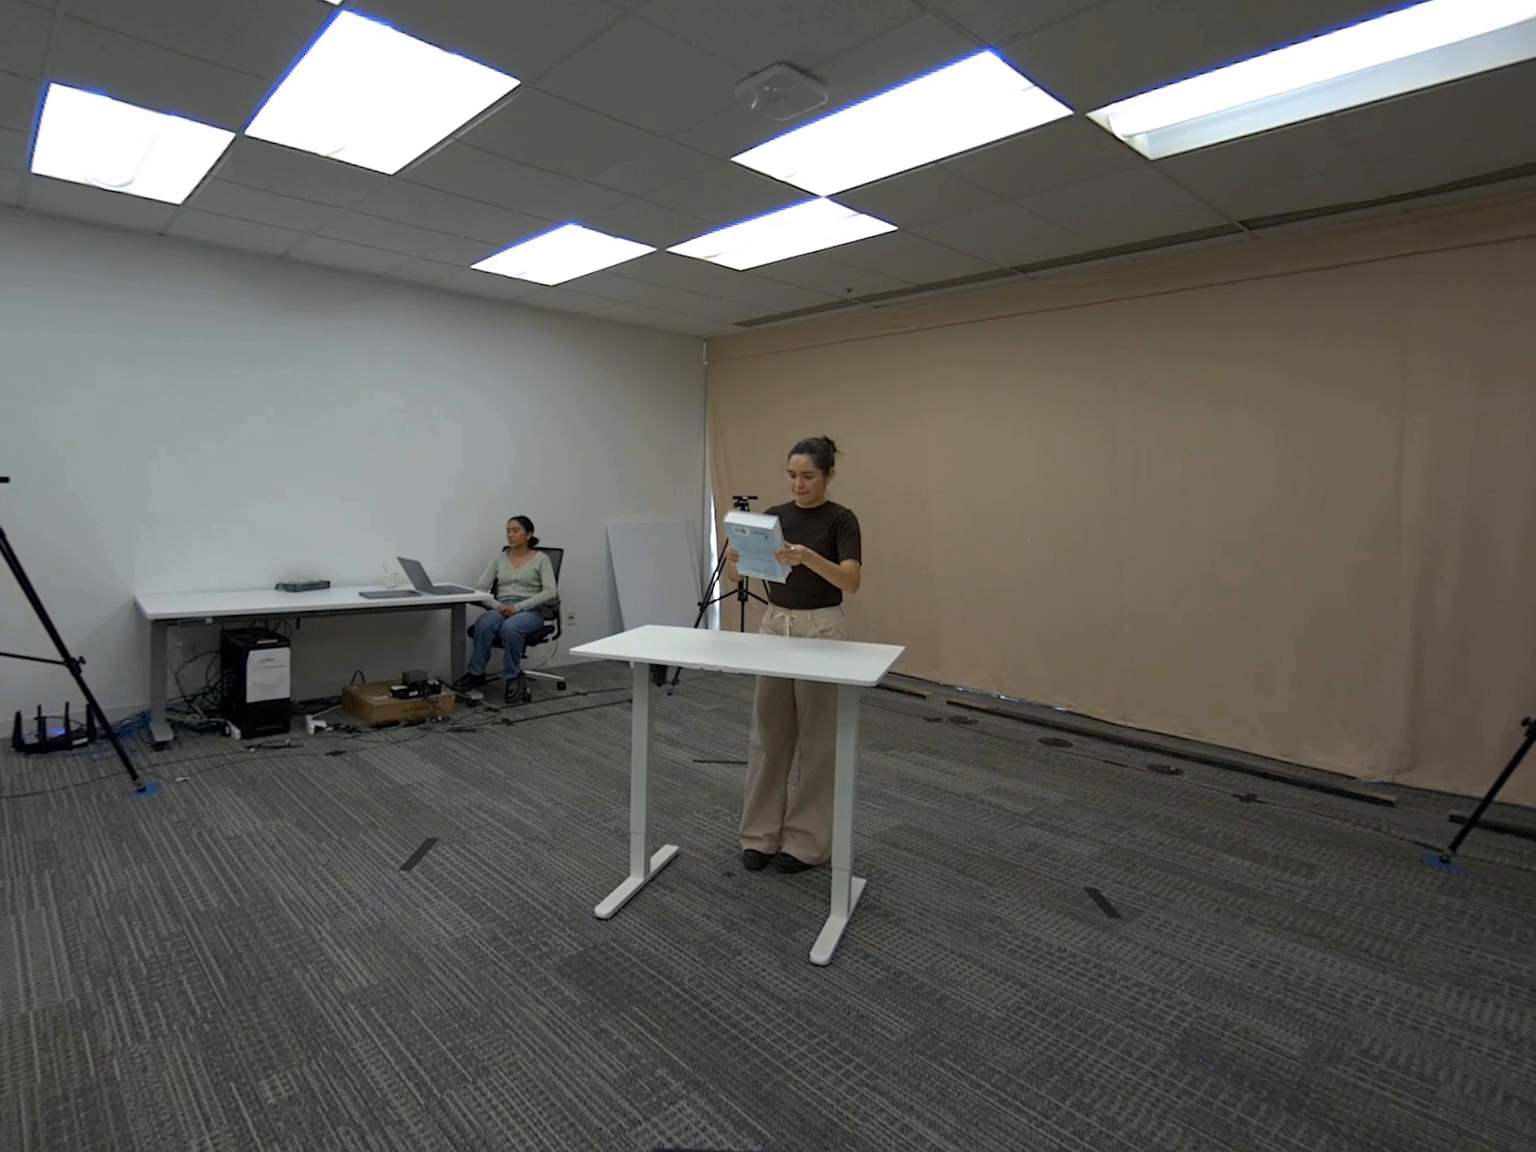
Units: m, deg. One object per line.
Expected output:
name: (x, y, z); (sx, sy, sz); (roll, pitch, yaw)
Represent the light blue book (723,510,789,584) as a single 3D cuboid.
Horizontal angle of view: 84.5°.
light blue book: (-0.037, -0.097, 2.882); (0.195, 0.254, 0.059); (11, 49, 25)
